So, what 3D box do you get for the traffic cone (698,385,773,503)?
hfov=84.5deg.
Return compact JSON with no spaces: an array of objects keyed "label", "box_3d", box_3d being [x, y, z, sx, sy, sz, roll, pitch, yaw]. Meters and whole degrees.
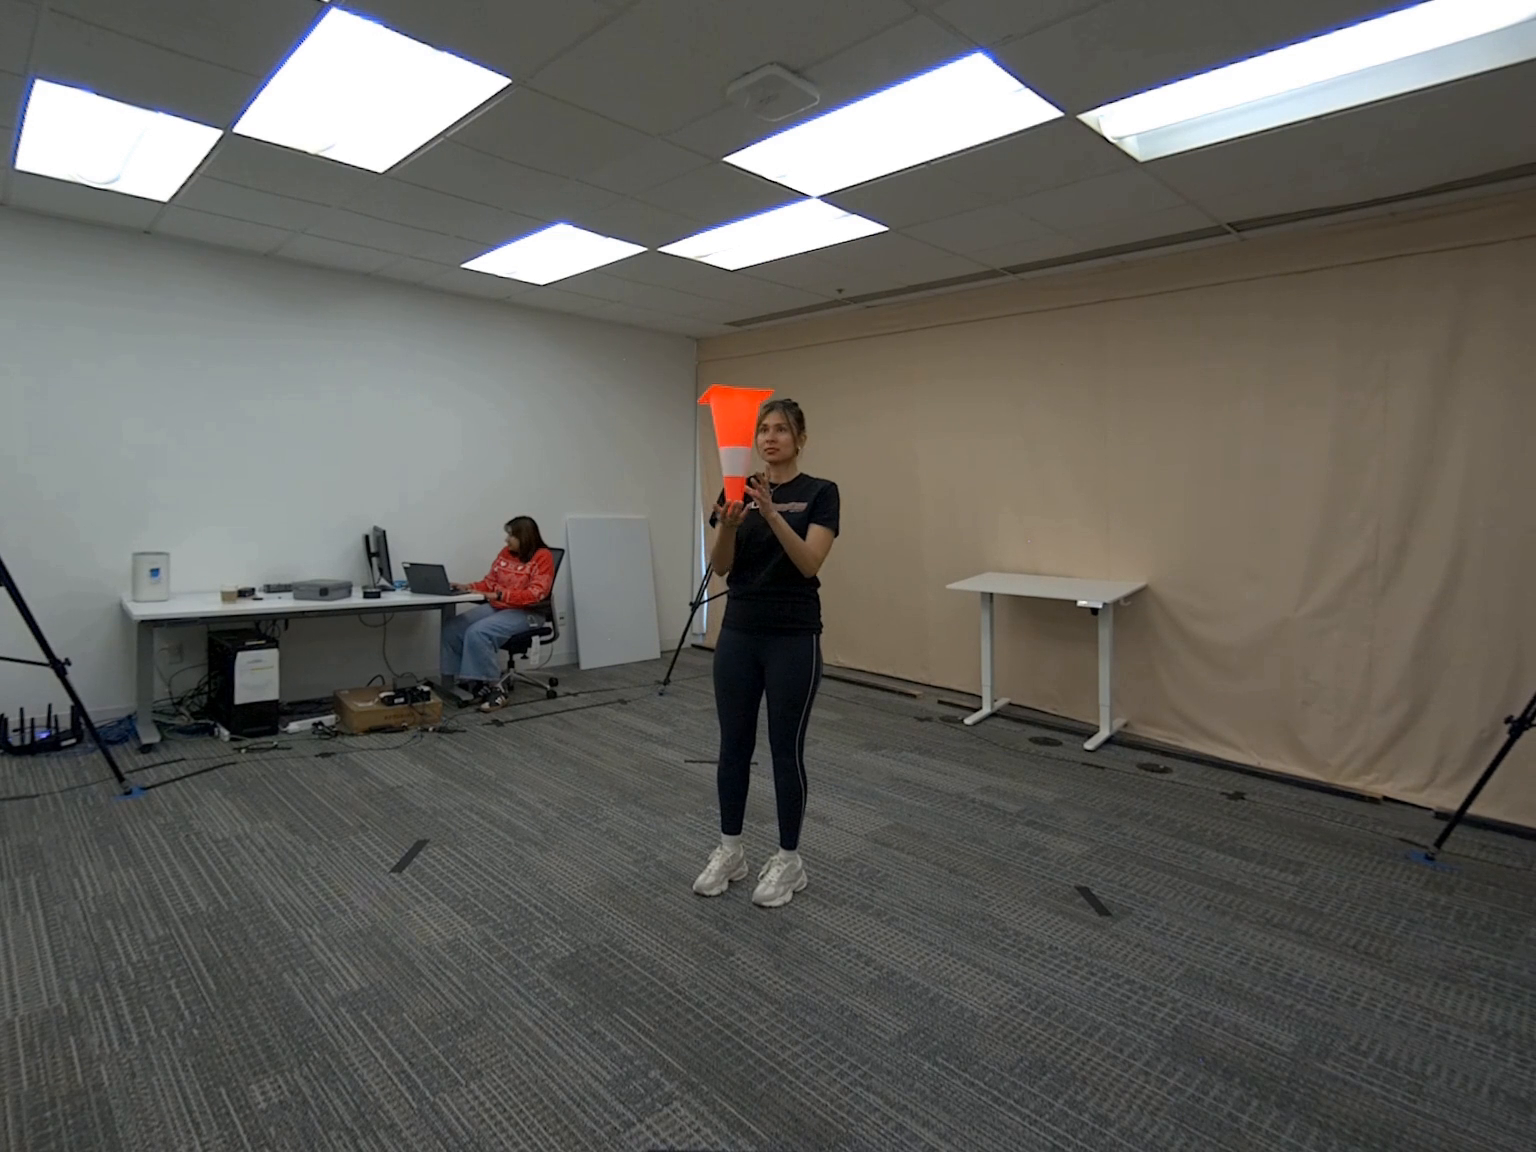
[{"label":"traffic cone","box_3d":[-0.106,-0.365,2.590,0.201,0.385,0.206,0,-5,-14]}]
